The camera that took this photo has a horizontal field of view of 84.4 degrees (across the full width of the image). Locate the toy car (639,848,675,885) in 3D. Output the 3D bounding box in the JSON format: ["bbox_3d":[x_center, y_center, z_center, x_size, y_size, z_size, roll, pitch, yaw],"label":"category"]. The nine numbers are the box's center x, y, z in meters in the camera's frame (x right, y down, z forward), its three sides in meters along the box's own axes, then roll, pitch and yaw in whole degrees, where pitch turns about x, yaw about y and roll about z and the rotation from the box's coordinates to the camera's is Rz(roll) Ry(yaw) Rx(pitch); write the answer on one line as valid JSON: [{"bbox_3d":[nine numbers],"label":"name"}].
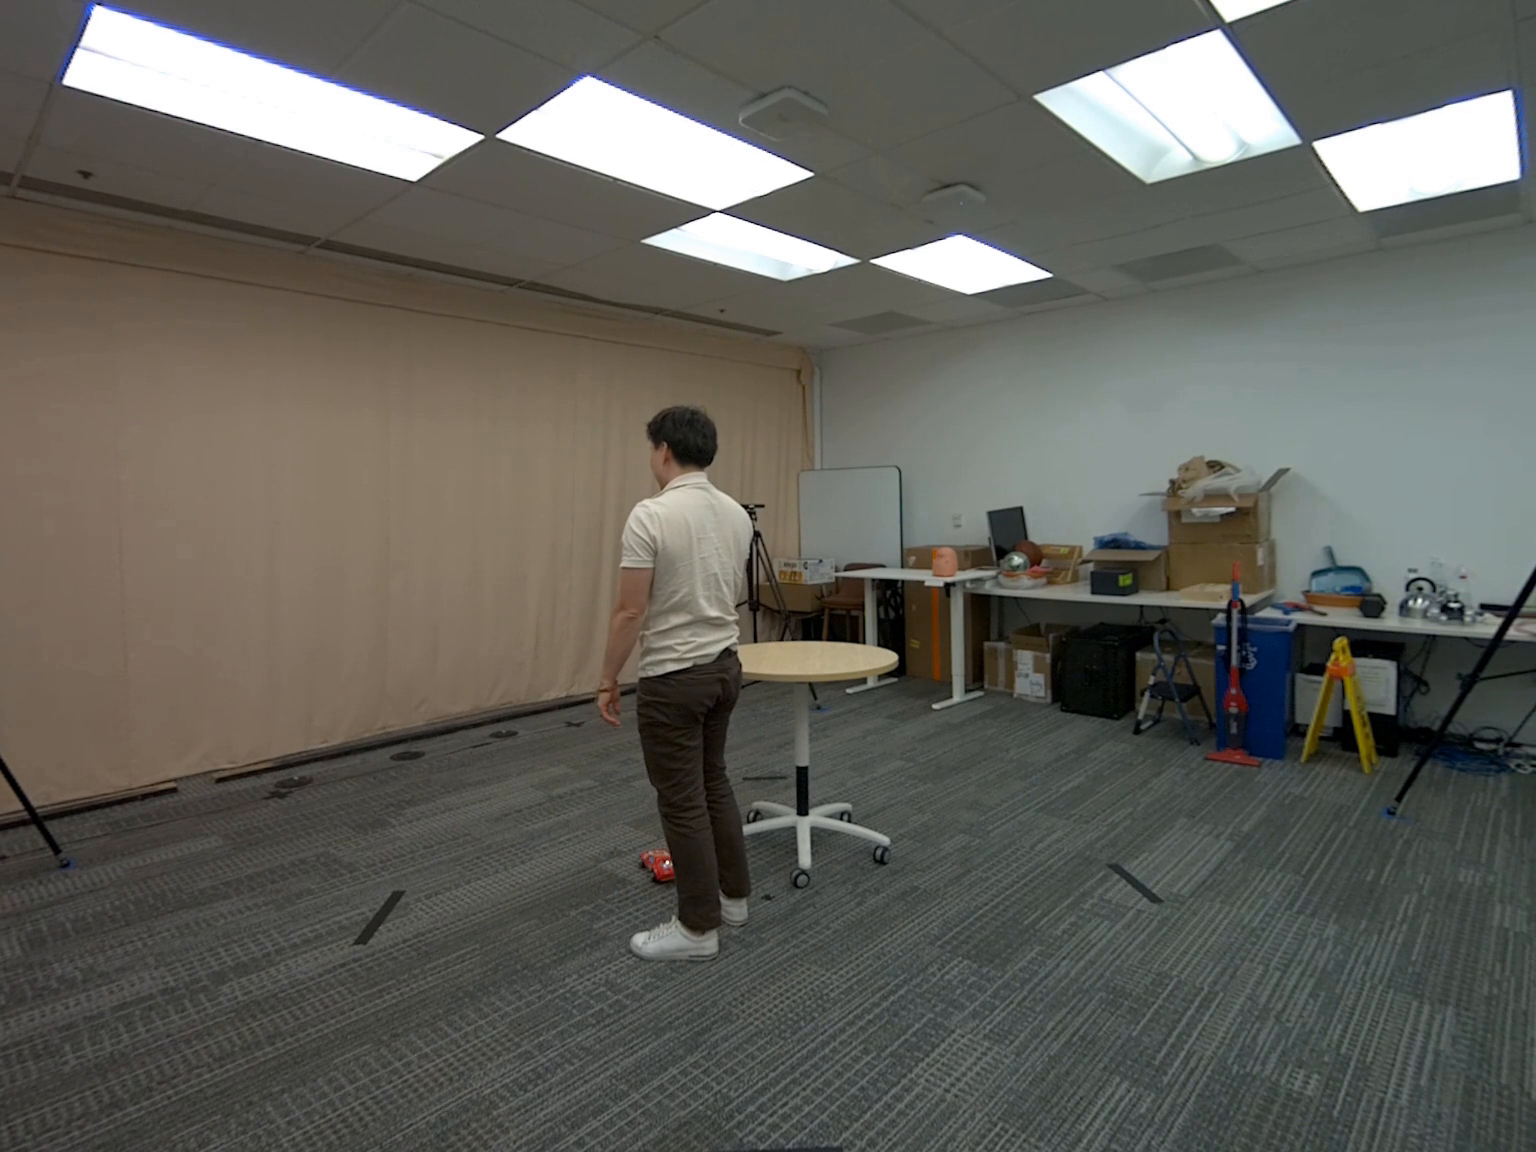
[{"bbox_3d":[-0.405,1.099,3.194,0.127,0.083,0.259,-4,-6,-25],"label":"toy car"}]
